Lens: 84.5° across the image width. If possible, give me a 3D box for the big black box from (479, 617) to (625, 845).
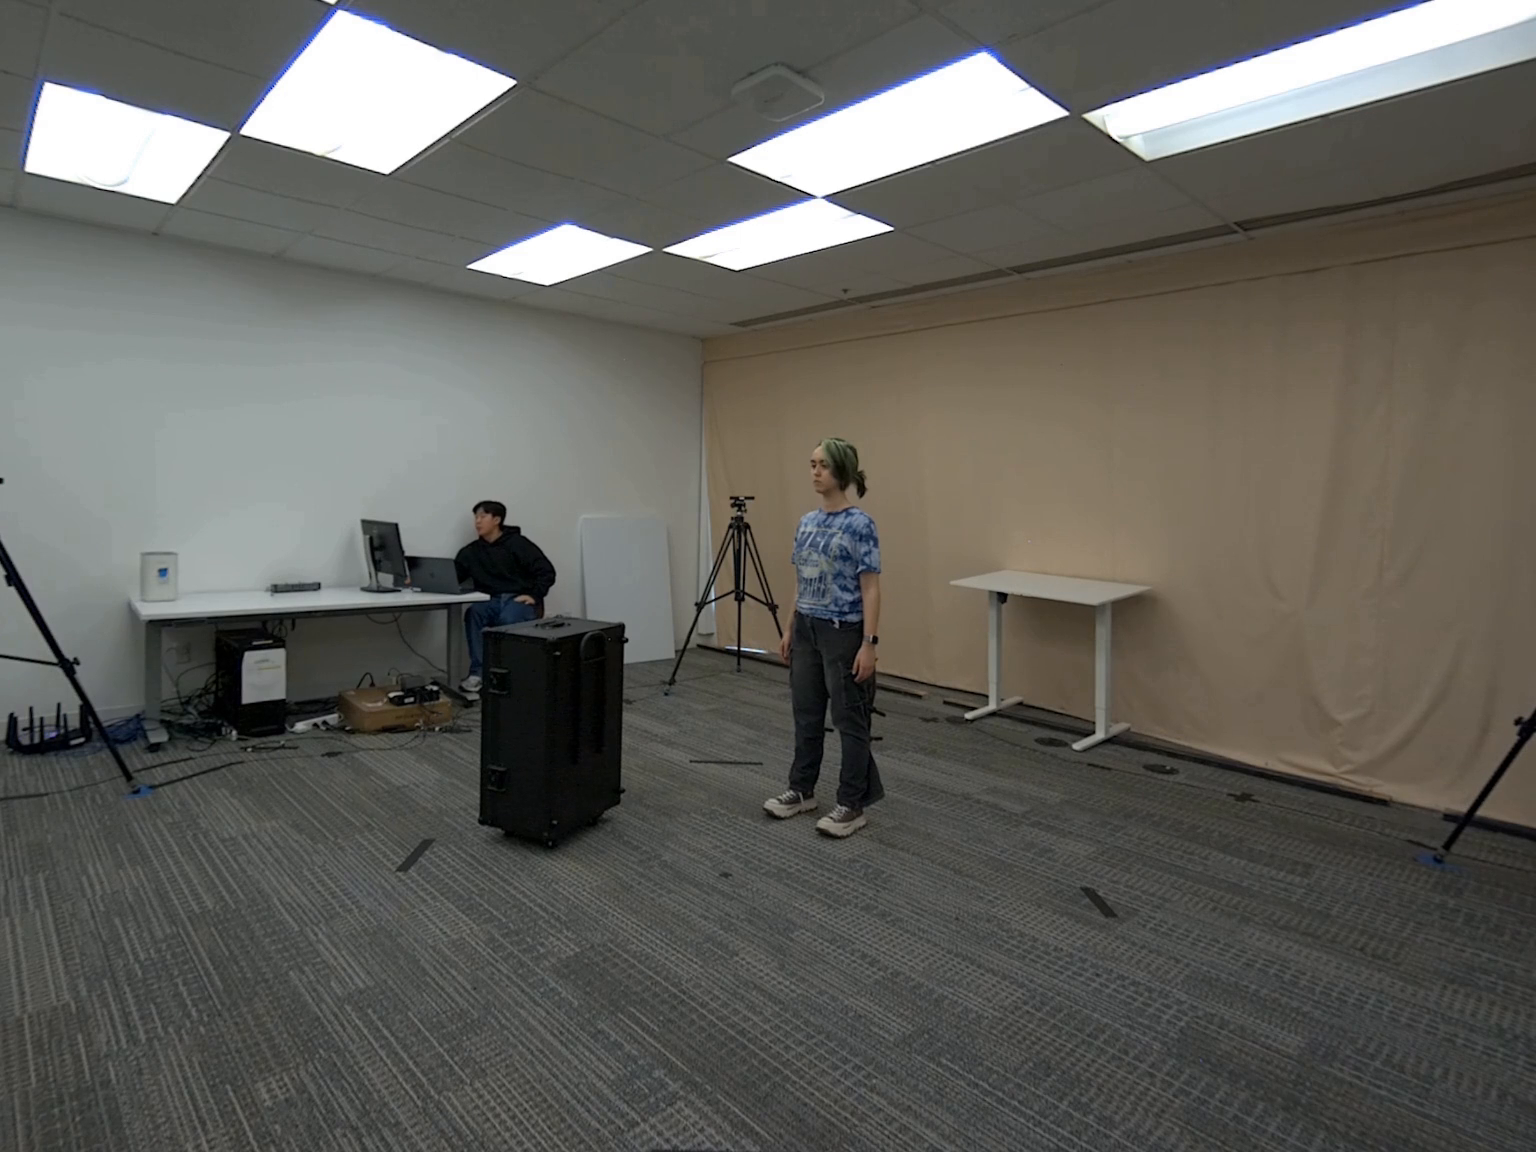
[{"bbox_3d":[-0.875,0.630,3.466,0.404,0.859,0.512,4,4,26],"label":"big black box"}]
